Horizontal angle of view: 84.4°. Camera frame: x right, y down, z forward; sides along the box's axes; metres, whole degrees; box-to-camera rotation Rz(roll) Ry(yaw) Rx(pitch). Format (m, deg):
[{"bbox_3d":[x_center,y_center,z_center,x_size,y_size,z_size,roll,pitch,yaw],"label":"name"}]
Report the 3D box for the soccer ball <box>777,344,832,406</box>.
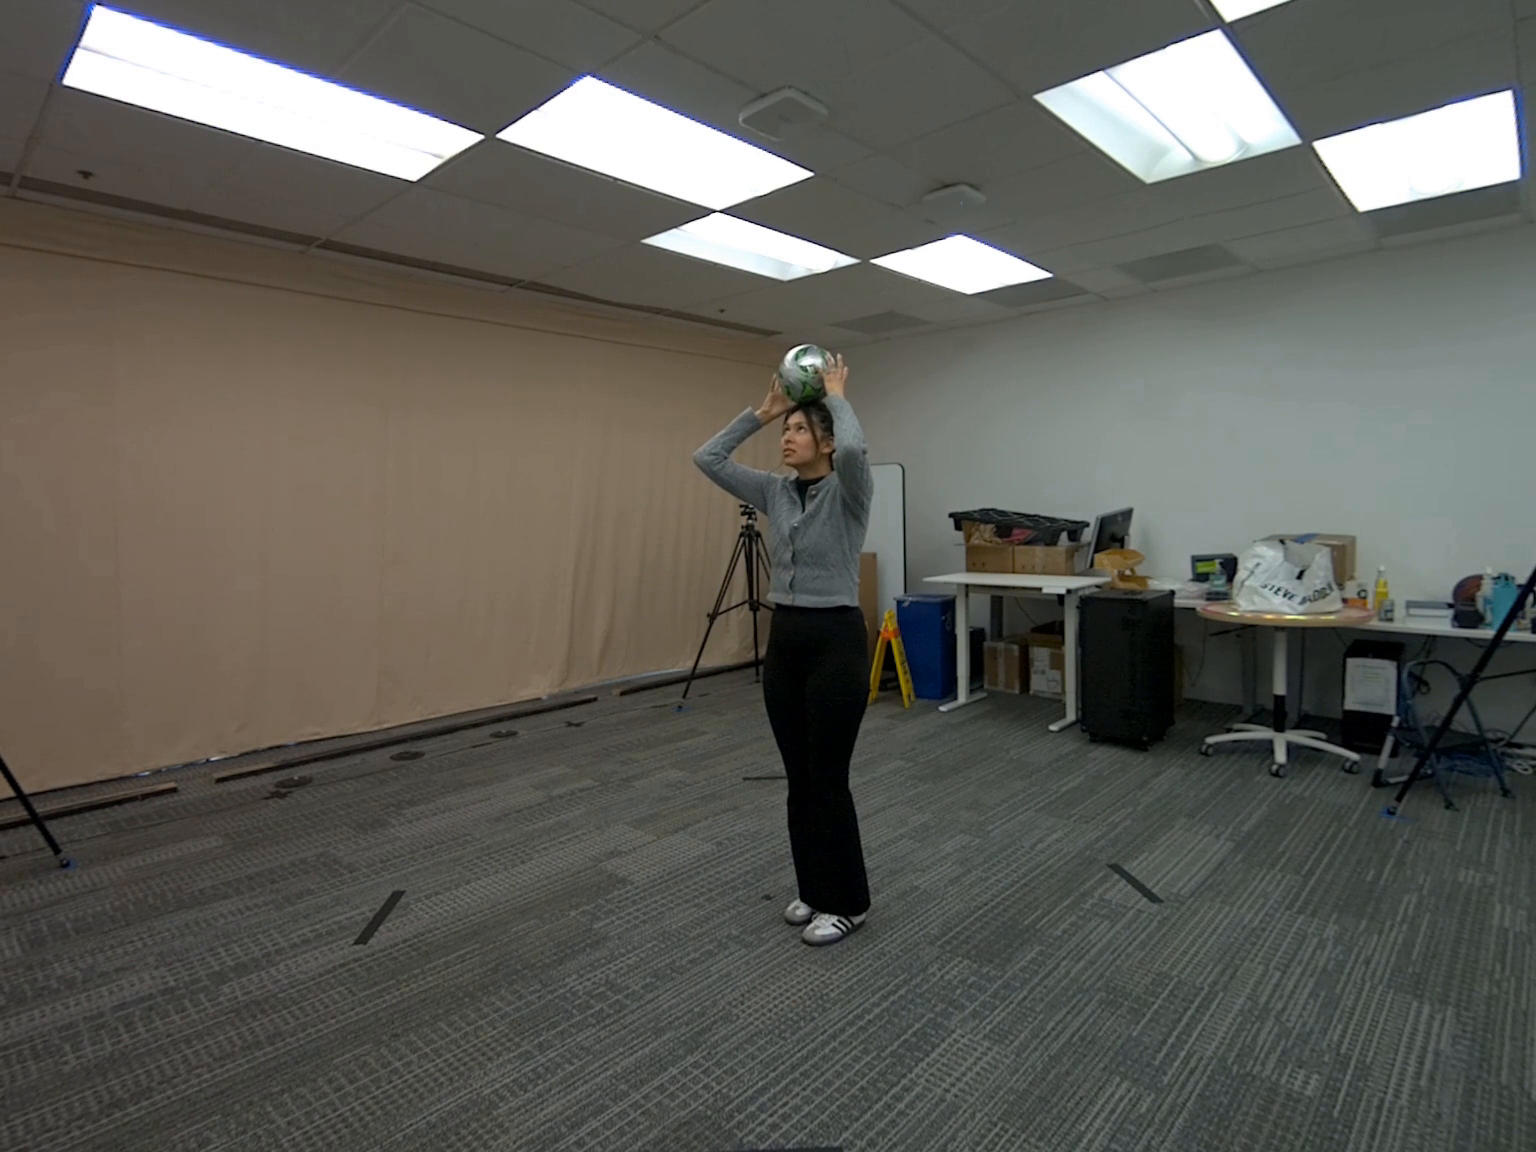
[{"bbox_3d":[0.134,-0.642,2.694,0.187,0.187,0.188,-1,4,-2],"label":"soccer ball"}]
